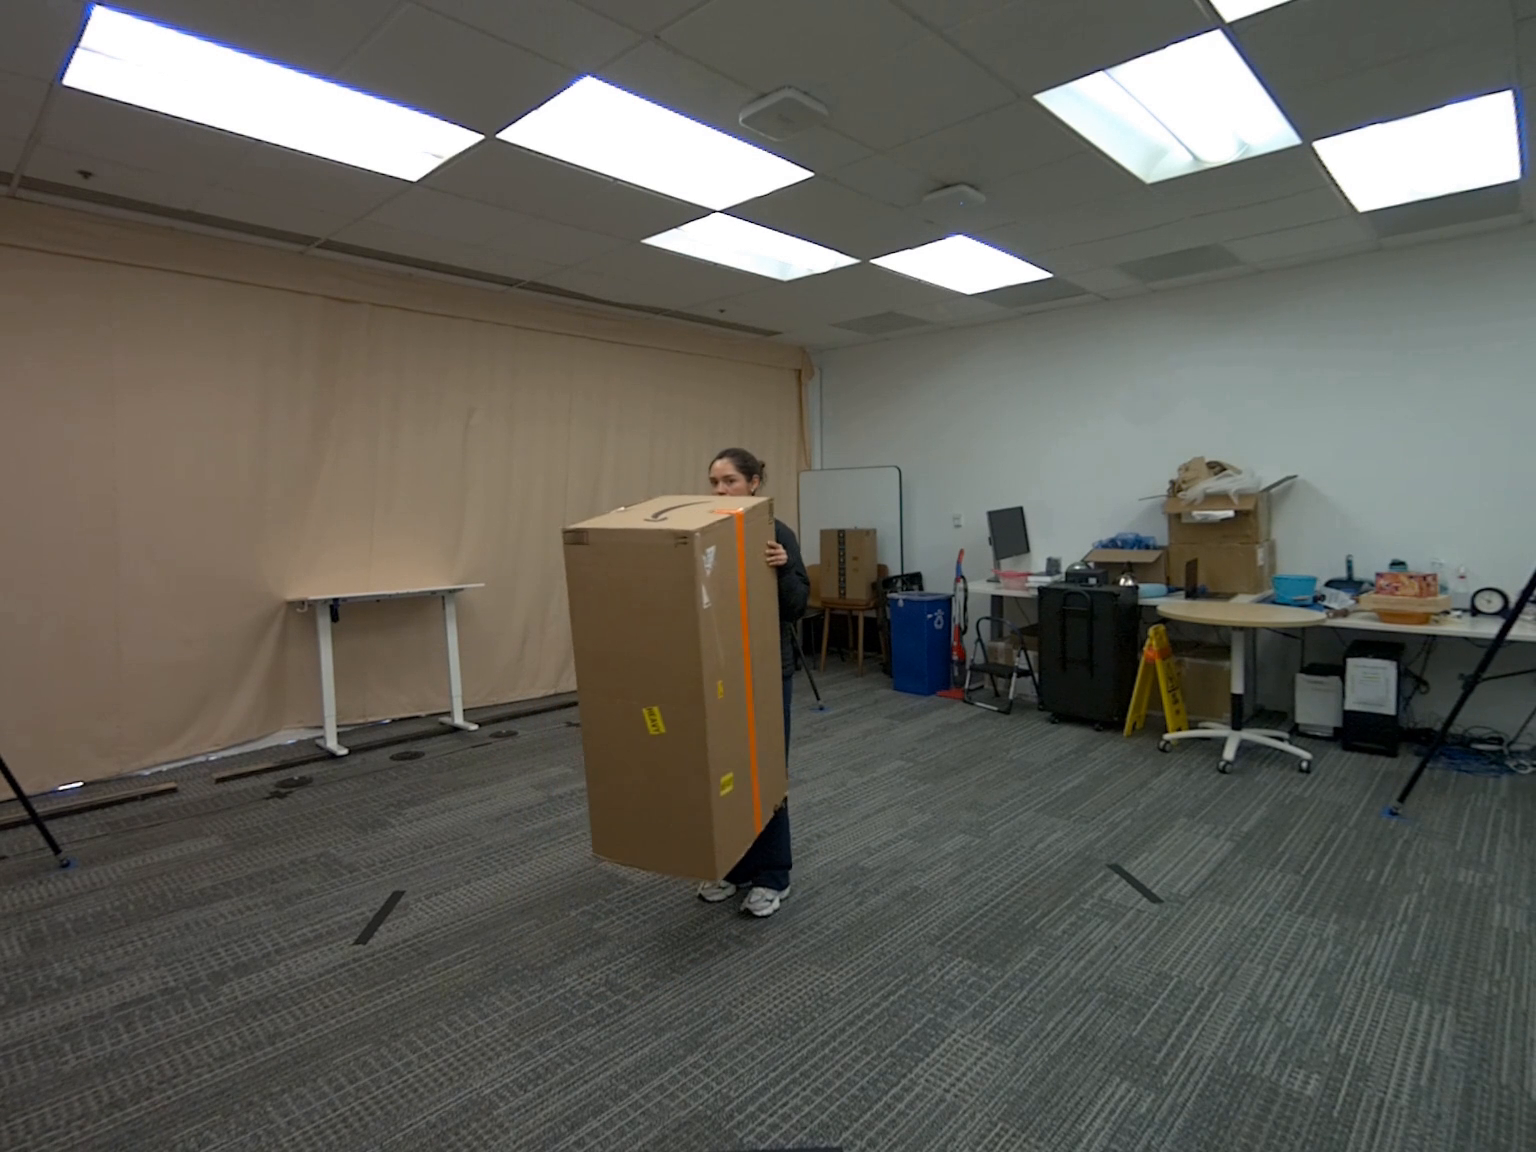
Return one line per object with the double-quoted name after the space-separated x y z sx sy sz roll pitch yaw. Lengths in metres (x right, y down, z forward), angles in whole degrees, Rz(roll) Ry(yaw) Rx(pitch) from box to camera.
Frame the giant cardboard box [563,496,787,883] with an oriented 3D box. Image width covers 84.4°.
-0.248 0.304 2.616 0.437 1.018 0.568 2 13 24 "giant cardboard box"
